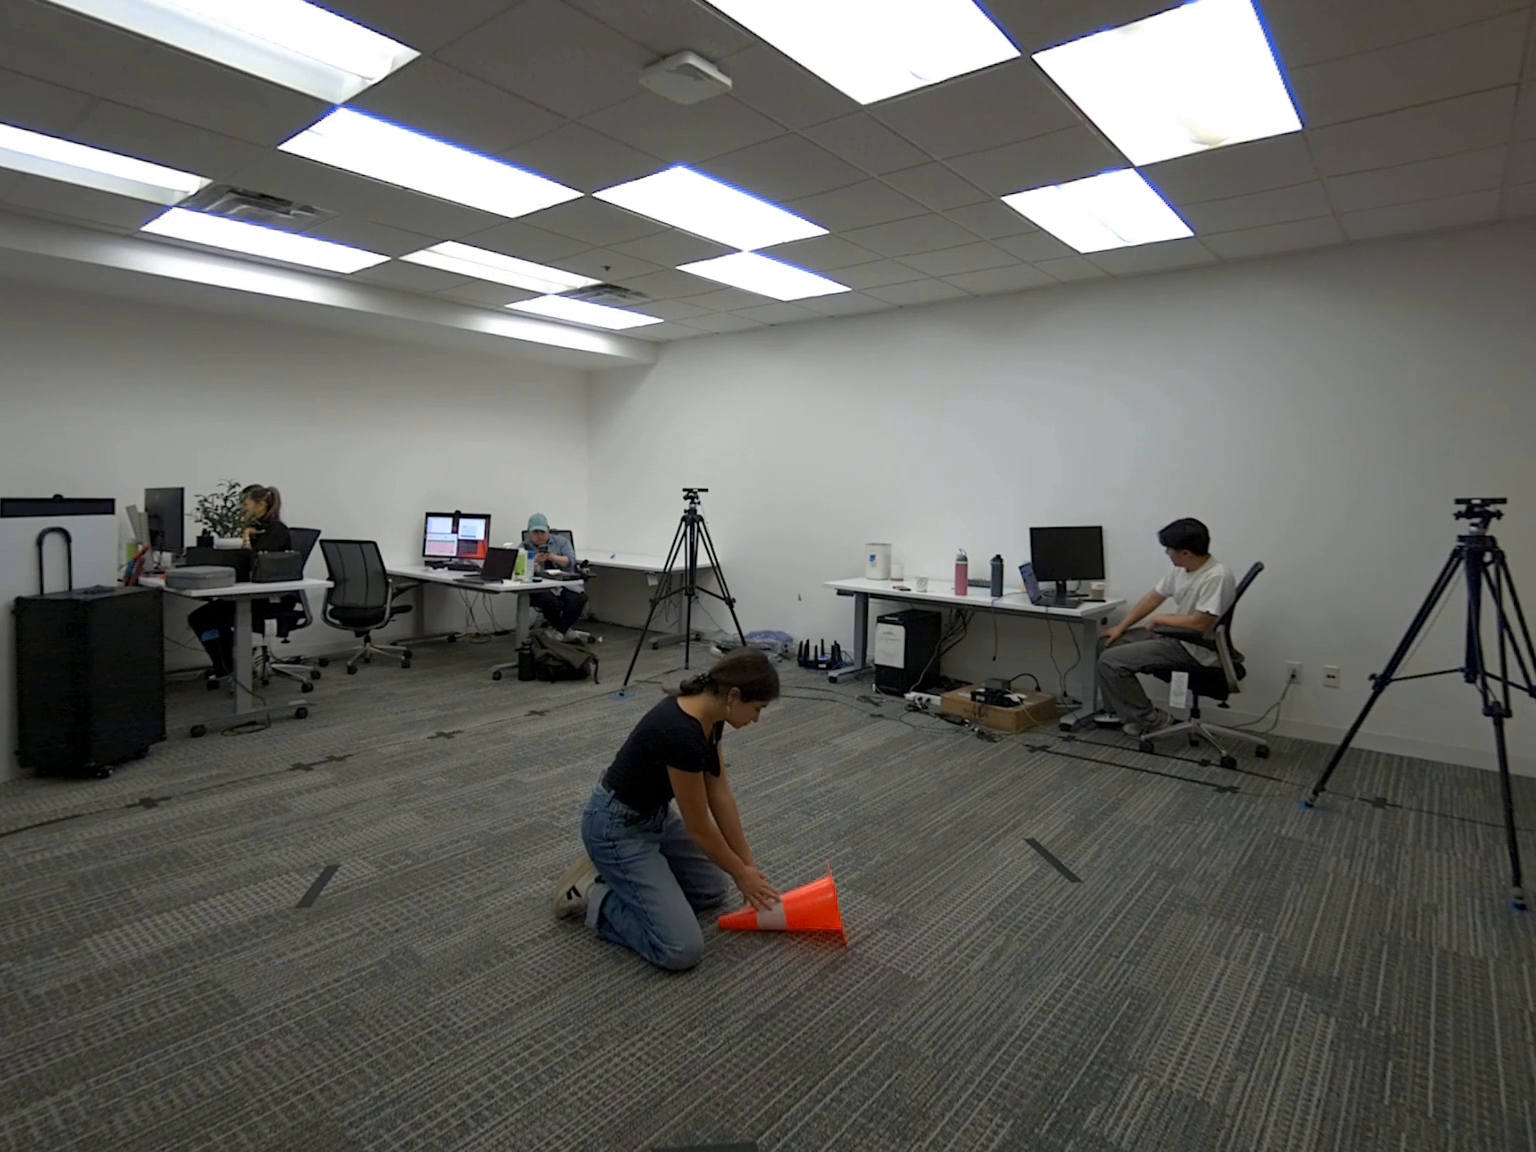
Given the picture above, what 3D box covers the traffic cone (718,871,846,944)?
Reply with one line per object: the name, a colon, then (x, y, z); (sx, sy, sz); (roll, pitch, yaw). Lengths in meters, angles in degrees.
traffic cone: (0.029, 1.071, 2.669); (0.383, 0.203, 0.205); (-10, 0, -2)
